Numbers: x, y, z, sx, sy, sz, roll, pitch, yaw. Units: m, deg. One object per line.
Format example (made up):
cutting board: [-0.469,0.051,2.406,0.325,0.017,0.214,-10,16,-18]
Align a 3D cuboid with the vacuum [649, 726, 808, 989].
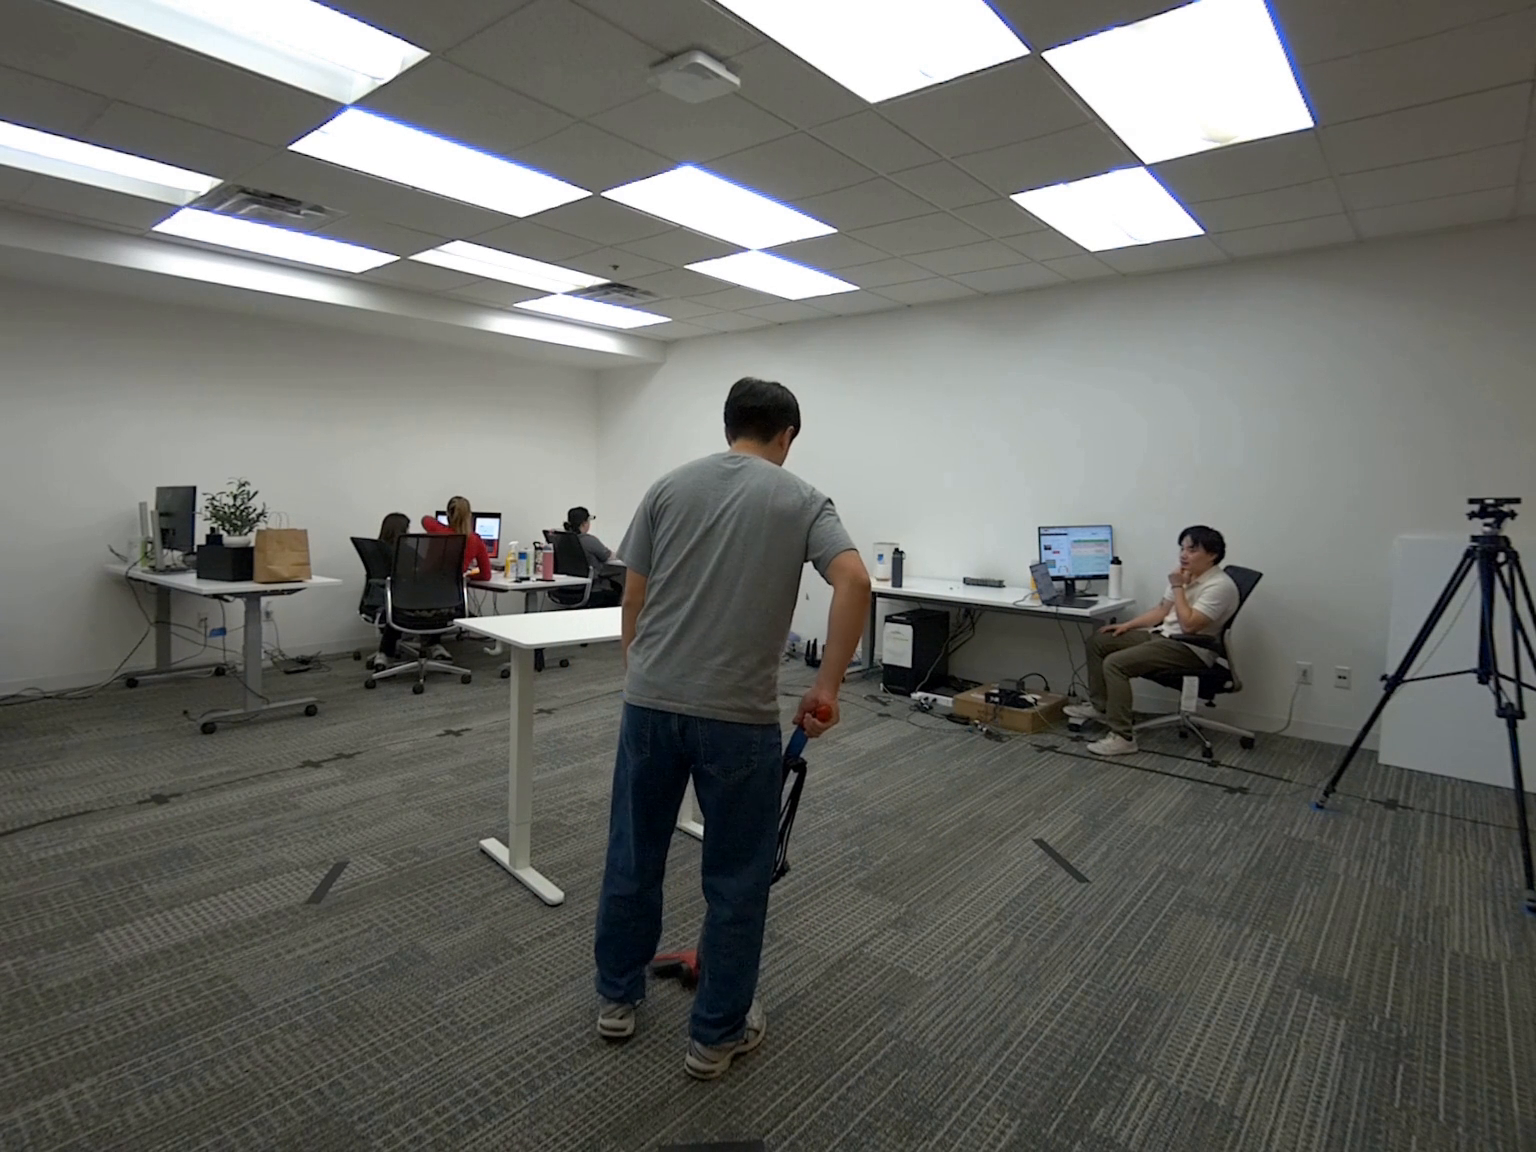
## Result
vacuum: [-0.046,0.720,2.180,0.245,1.037,0.150,4,37,-31]
